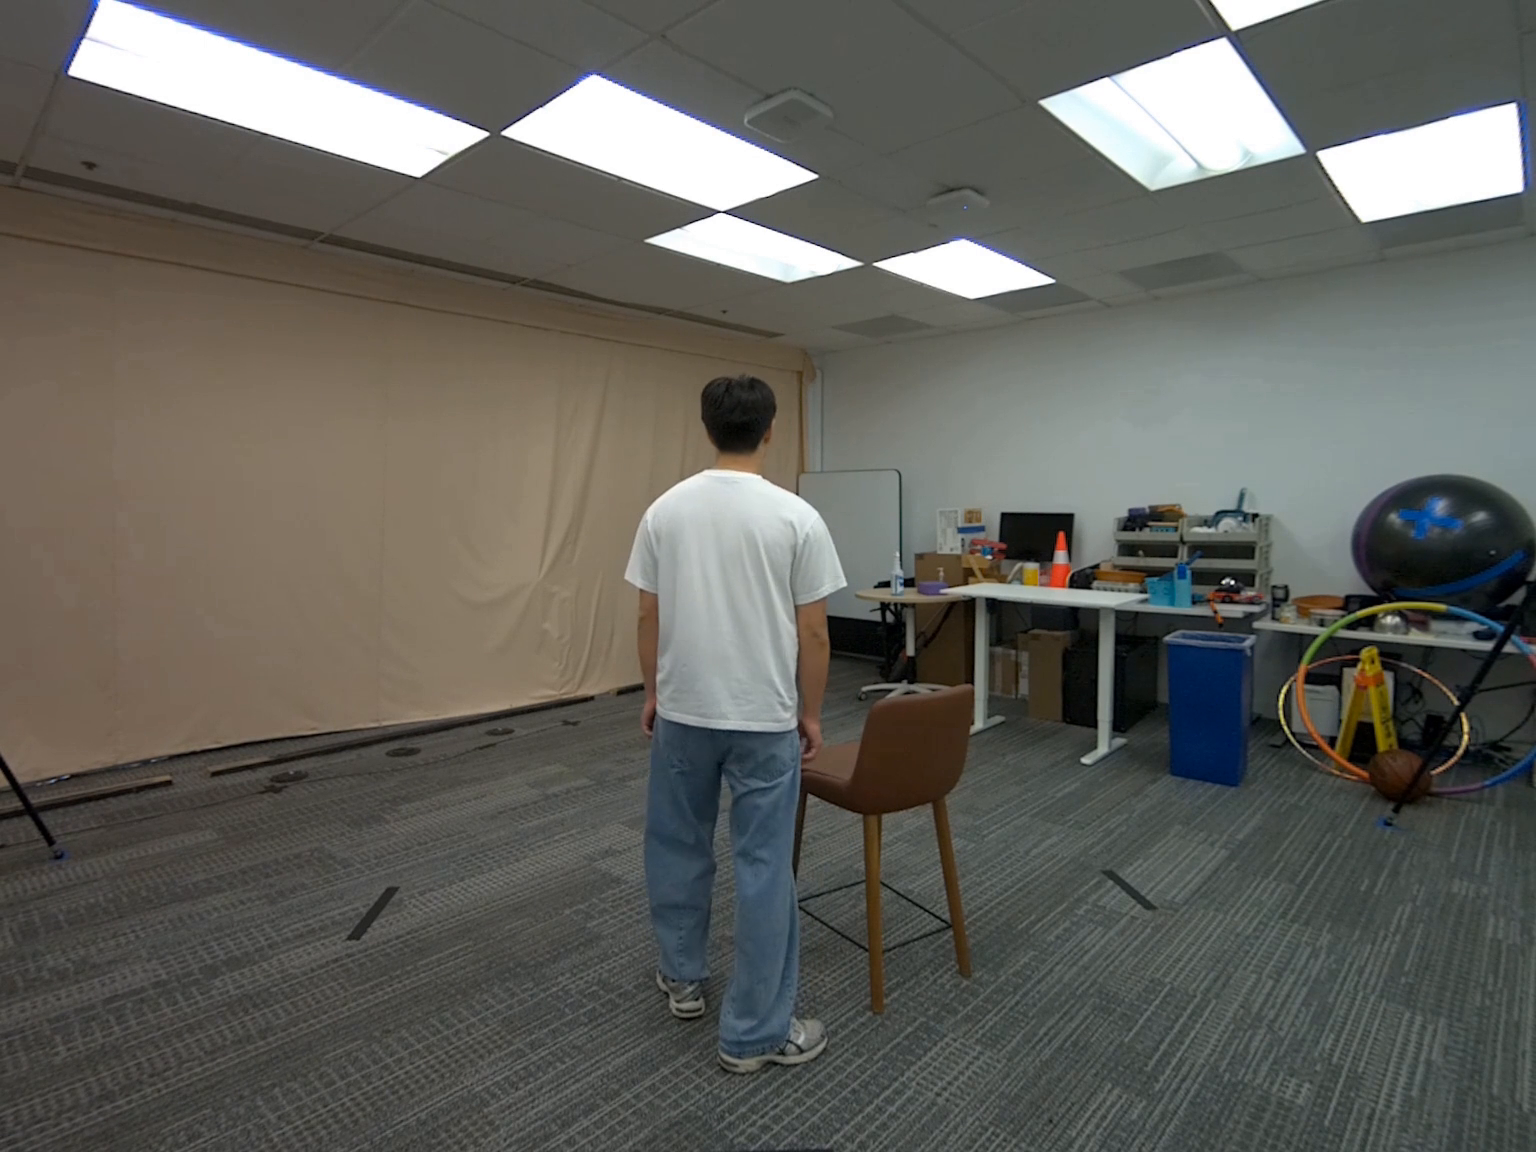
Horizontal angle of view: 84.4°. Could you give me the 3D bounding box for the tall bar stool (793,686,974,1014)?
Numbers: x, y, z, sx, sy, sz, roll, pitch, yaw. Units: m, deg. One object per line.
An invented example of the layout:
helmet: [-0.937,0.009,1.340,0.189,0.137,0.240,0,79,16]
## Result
tall bar stool: [0.333,0.743,2.565,0.444,0.887,0.482,-2,5,-33]
